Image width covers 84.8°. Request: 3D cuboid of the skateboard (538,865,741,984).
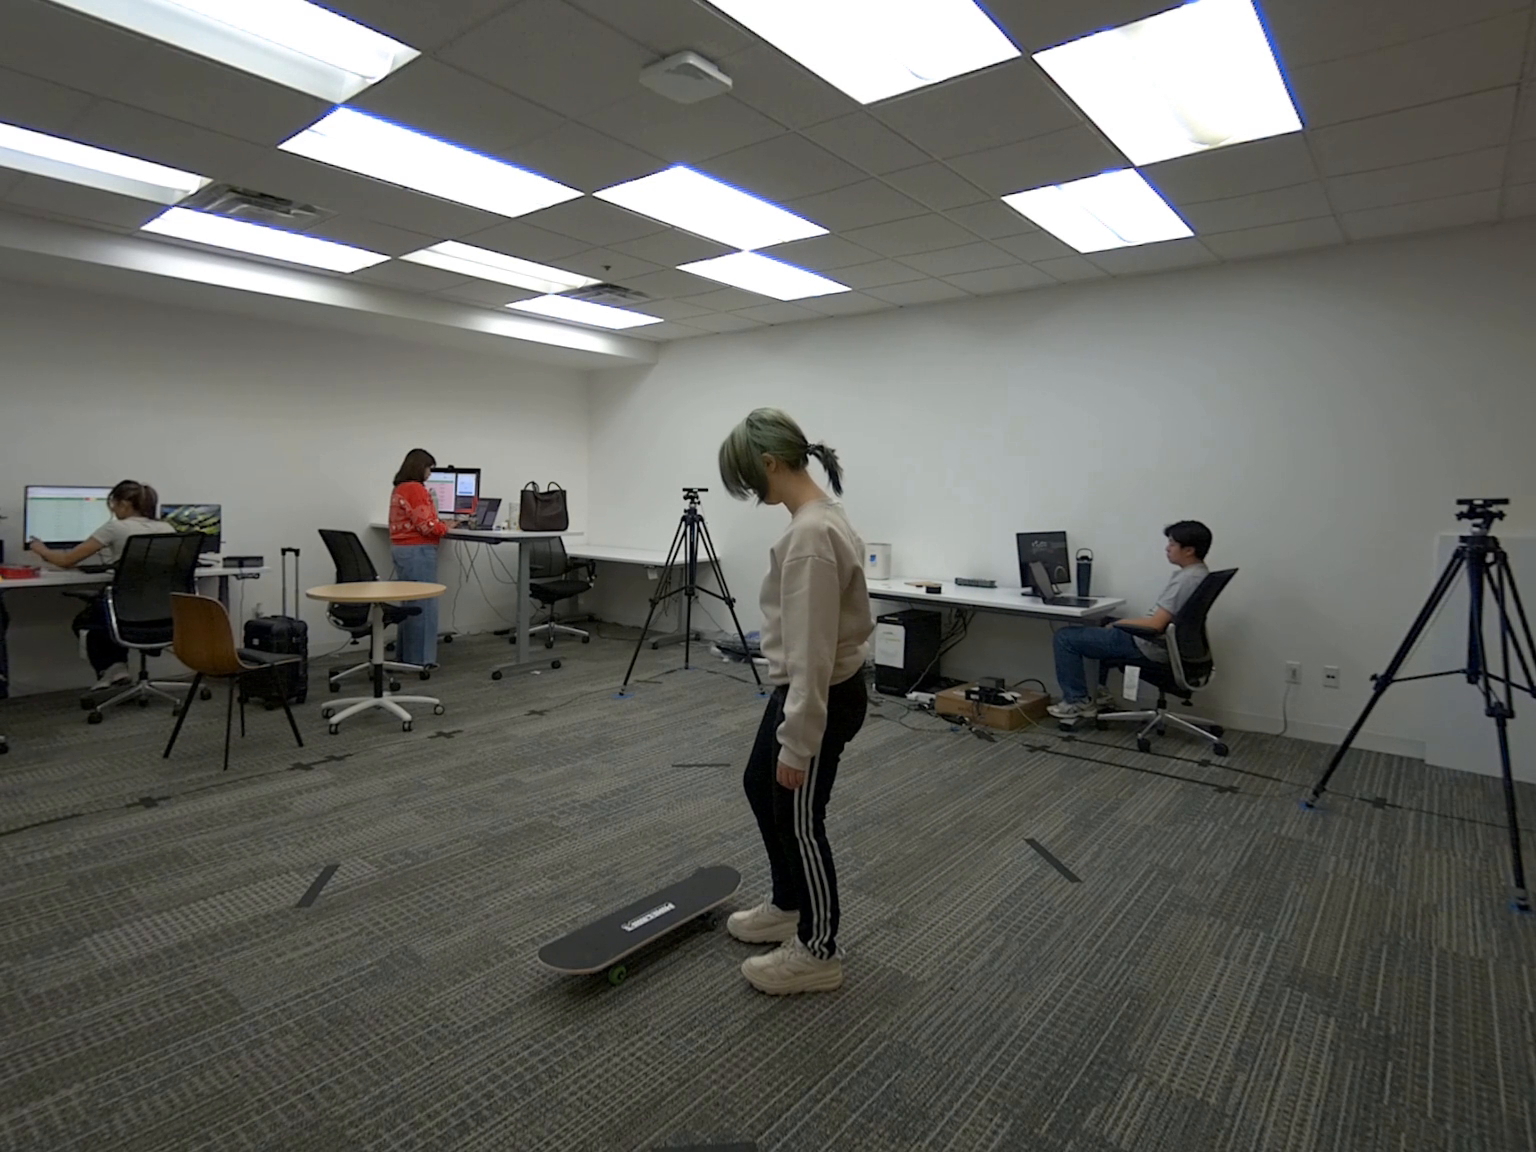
[{"bbox_3d":[-0.365,1.064,2.581,0.200,0.110,0.763,4,6,39],"label":"skateboard"}]
